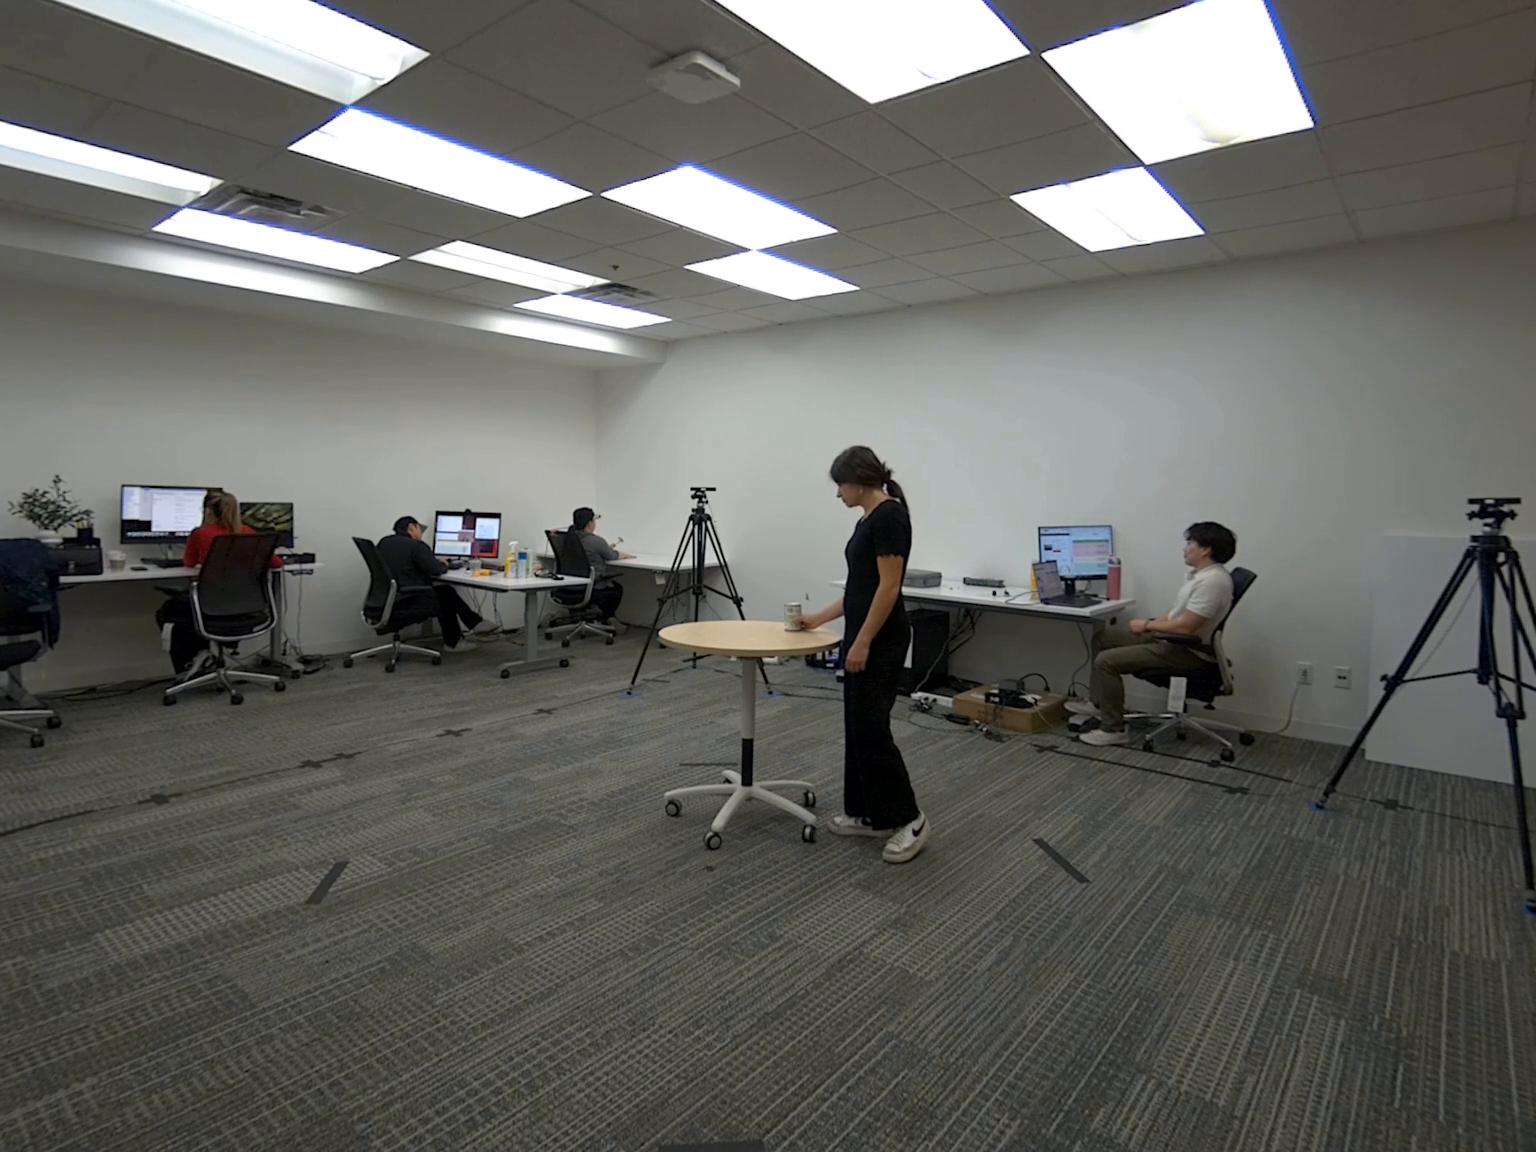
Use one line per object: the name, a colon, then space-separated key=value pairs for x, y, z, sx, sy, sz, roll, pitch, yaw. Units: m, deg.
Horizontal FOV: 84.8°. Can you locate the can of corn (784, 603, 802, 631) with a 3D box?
can of corn: x=0.096 y=0.172 z=3.703 sx=0.074 sy=0.111 sz=0.074 roll=2 pitch=-1 yaw=-2
